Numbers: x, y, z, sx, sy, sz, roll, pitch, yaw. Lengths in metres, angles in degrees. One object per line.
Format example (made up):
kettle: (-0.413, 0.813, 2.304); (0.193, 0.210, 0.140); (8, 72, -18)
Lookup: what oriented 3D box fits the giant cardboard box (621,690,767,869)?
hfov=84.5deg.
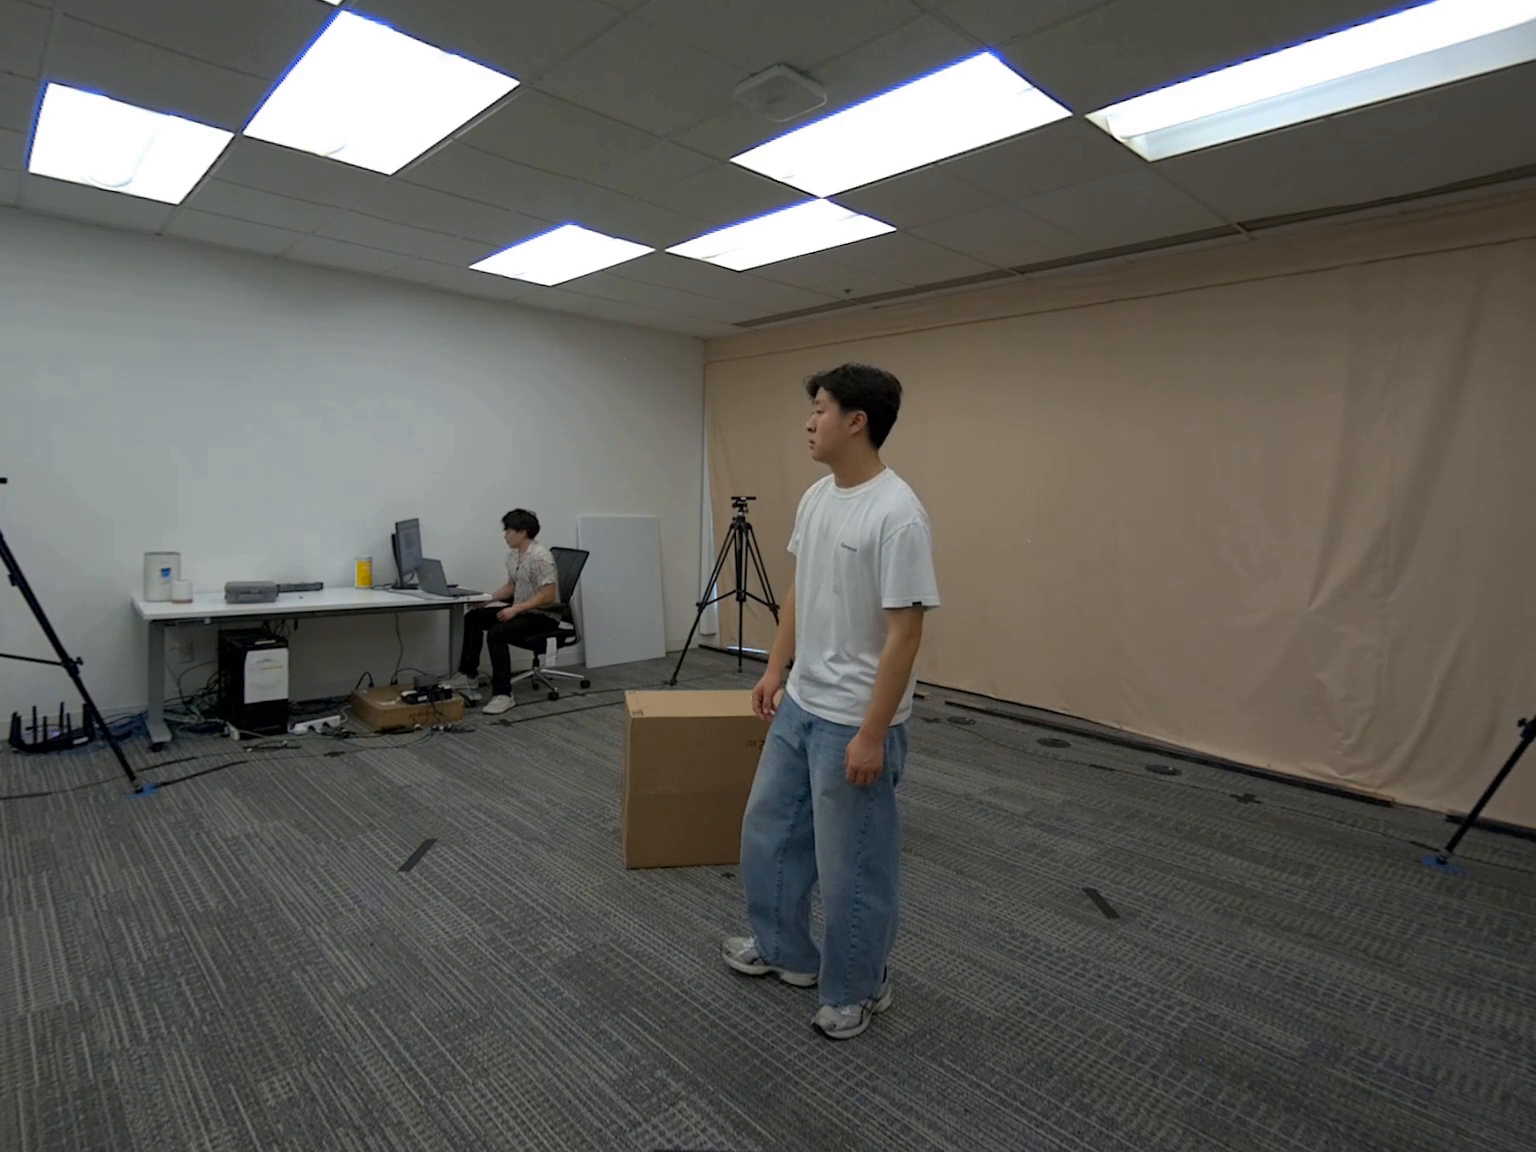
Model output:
giant cardboard box: (-0.072, 0.791, 3.408); (1.017, 0.576, 0.431); (1, 4, -11)
